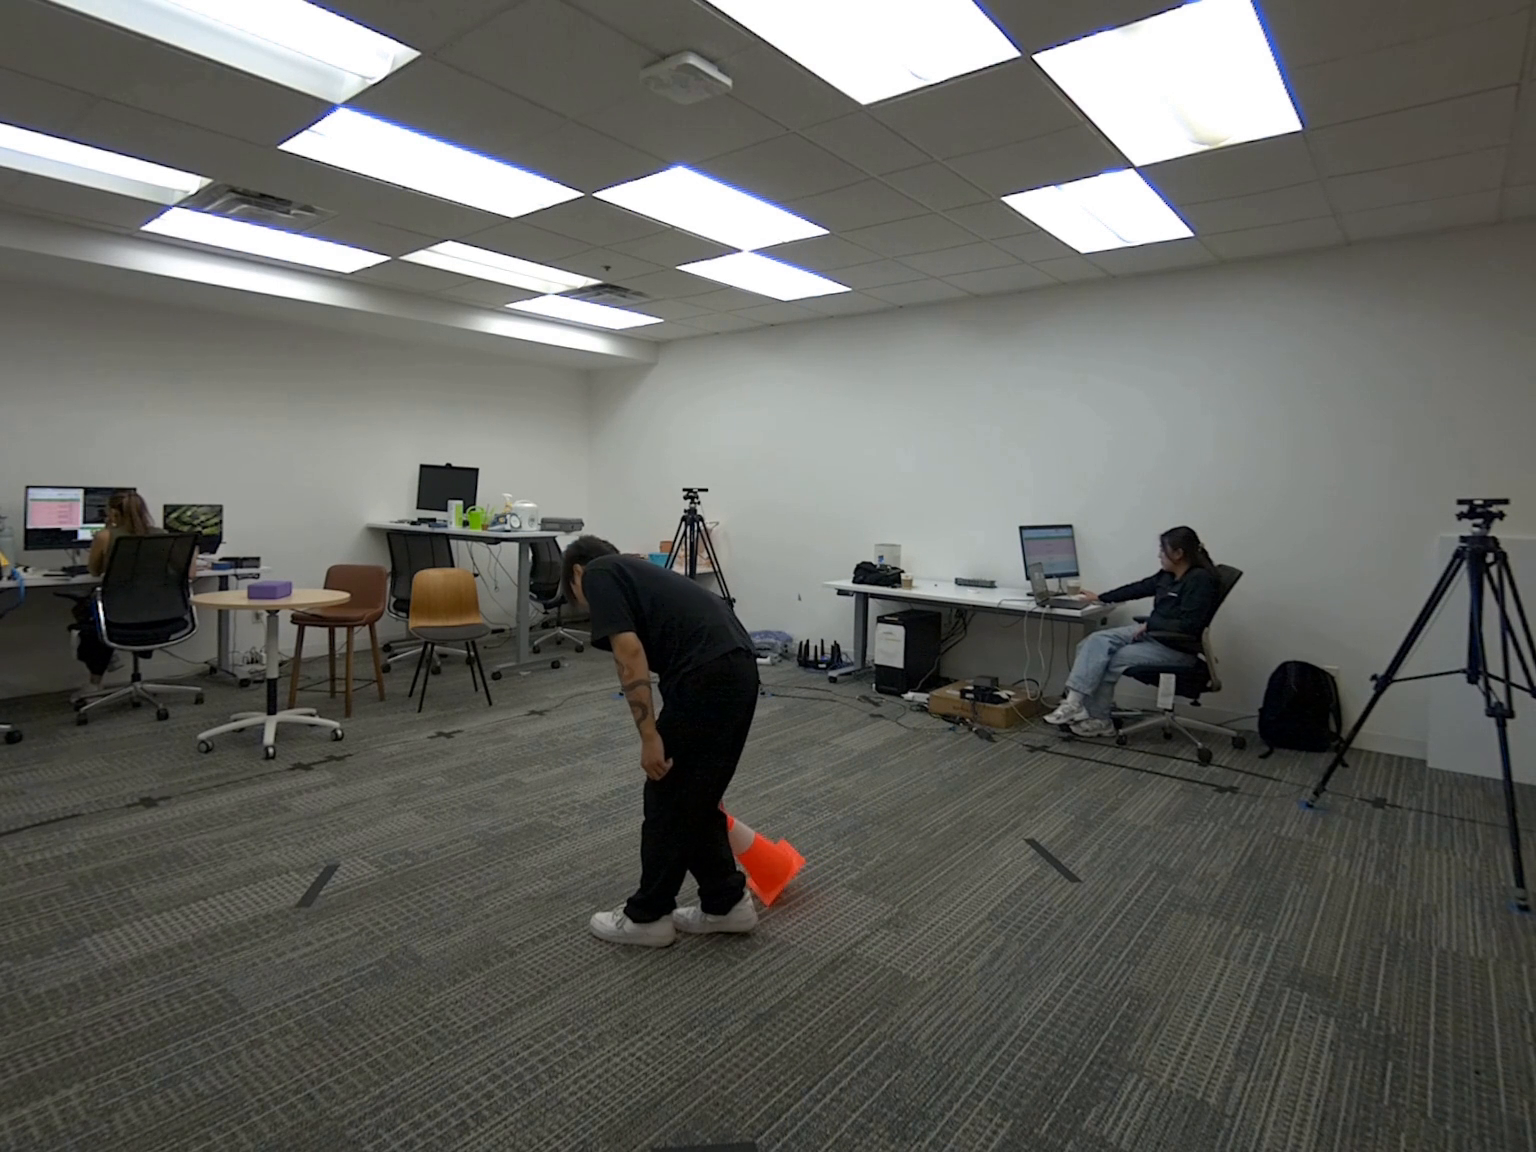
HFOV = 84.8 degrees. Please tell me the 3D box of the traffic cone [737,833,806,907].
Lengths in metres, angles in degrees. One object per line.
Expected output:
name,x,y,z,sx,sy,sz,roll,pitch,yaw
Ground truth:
traffic cone,-0.098,0.891,2.894,0.205,0.375,0.208,-45,17,-11
